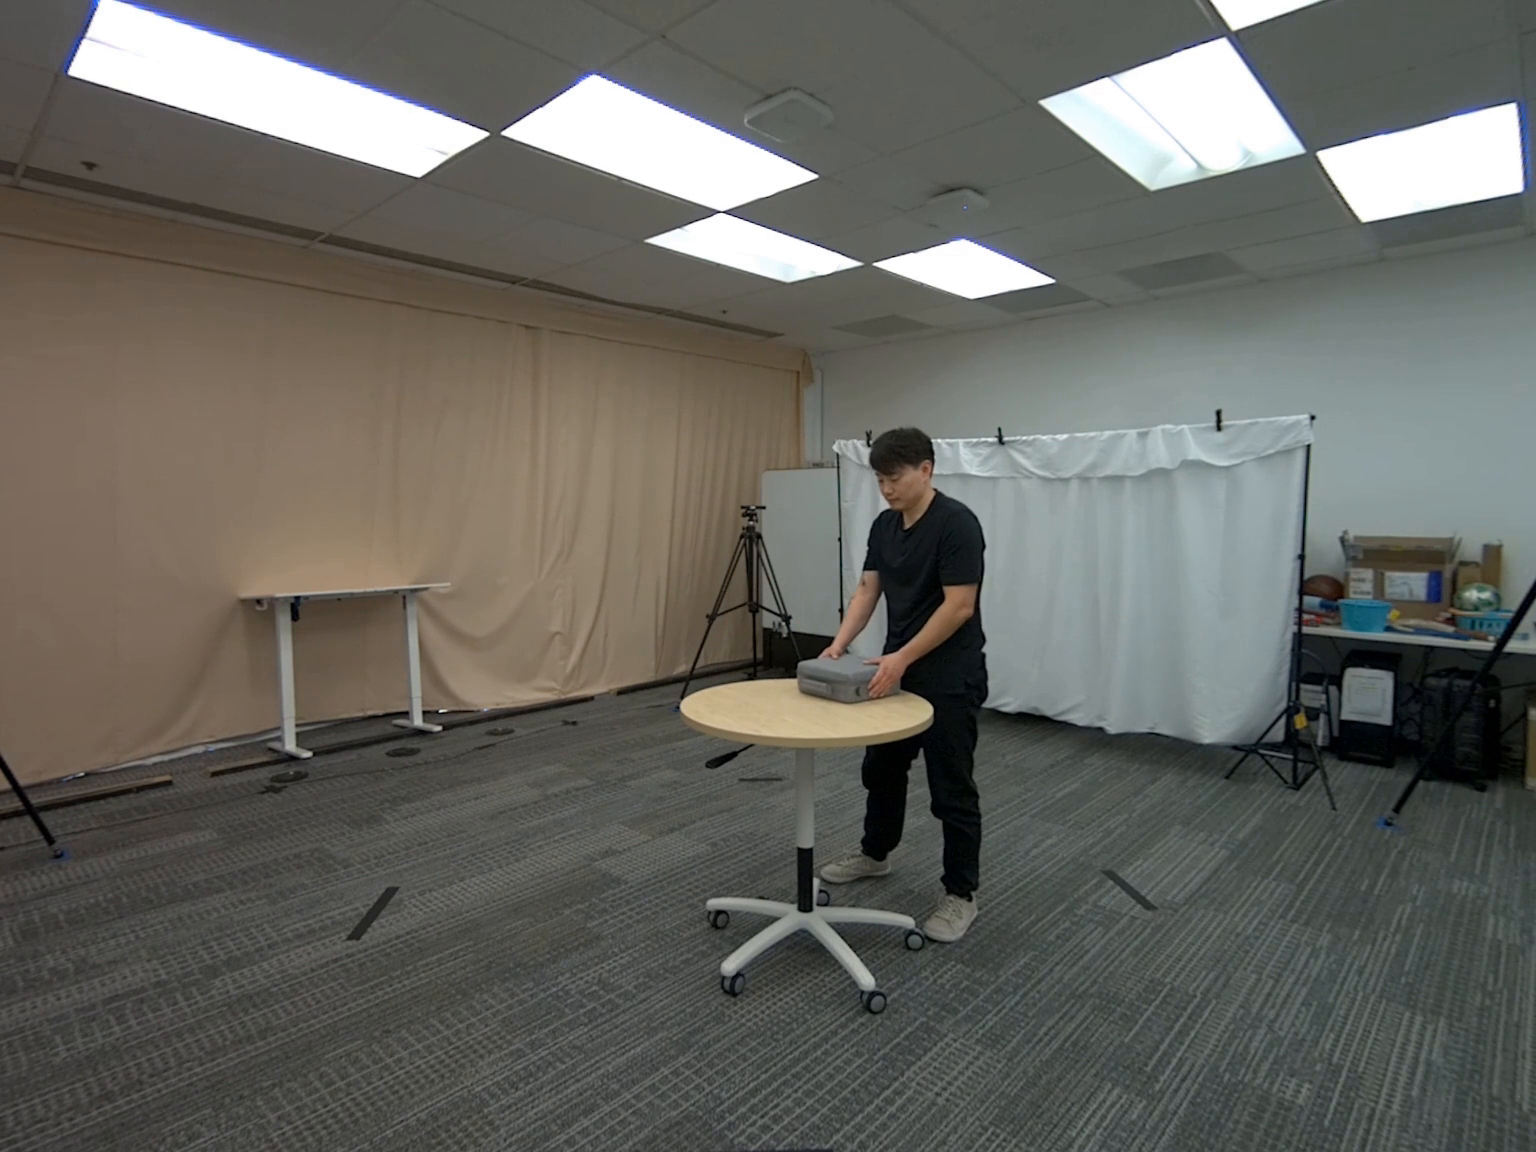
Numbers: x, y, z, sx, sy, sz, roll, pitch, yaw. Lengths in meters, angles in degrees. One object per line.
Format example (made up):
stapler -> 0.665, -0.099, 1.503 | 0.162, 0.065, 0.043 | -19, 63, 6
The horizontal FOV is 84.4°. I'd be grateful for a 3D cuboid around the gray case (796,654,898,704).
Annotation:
gray case -> 0.255, 0.331, 2.728 | 0.253, 0.104, 0.265 | -4, 7, -38
